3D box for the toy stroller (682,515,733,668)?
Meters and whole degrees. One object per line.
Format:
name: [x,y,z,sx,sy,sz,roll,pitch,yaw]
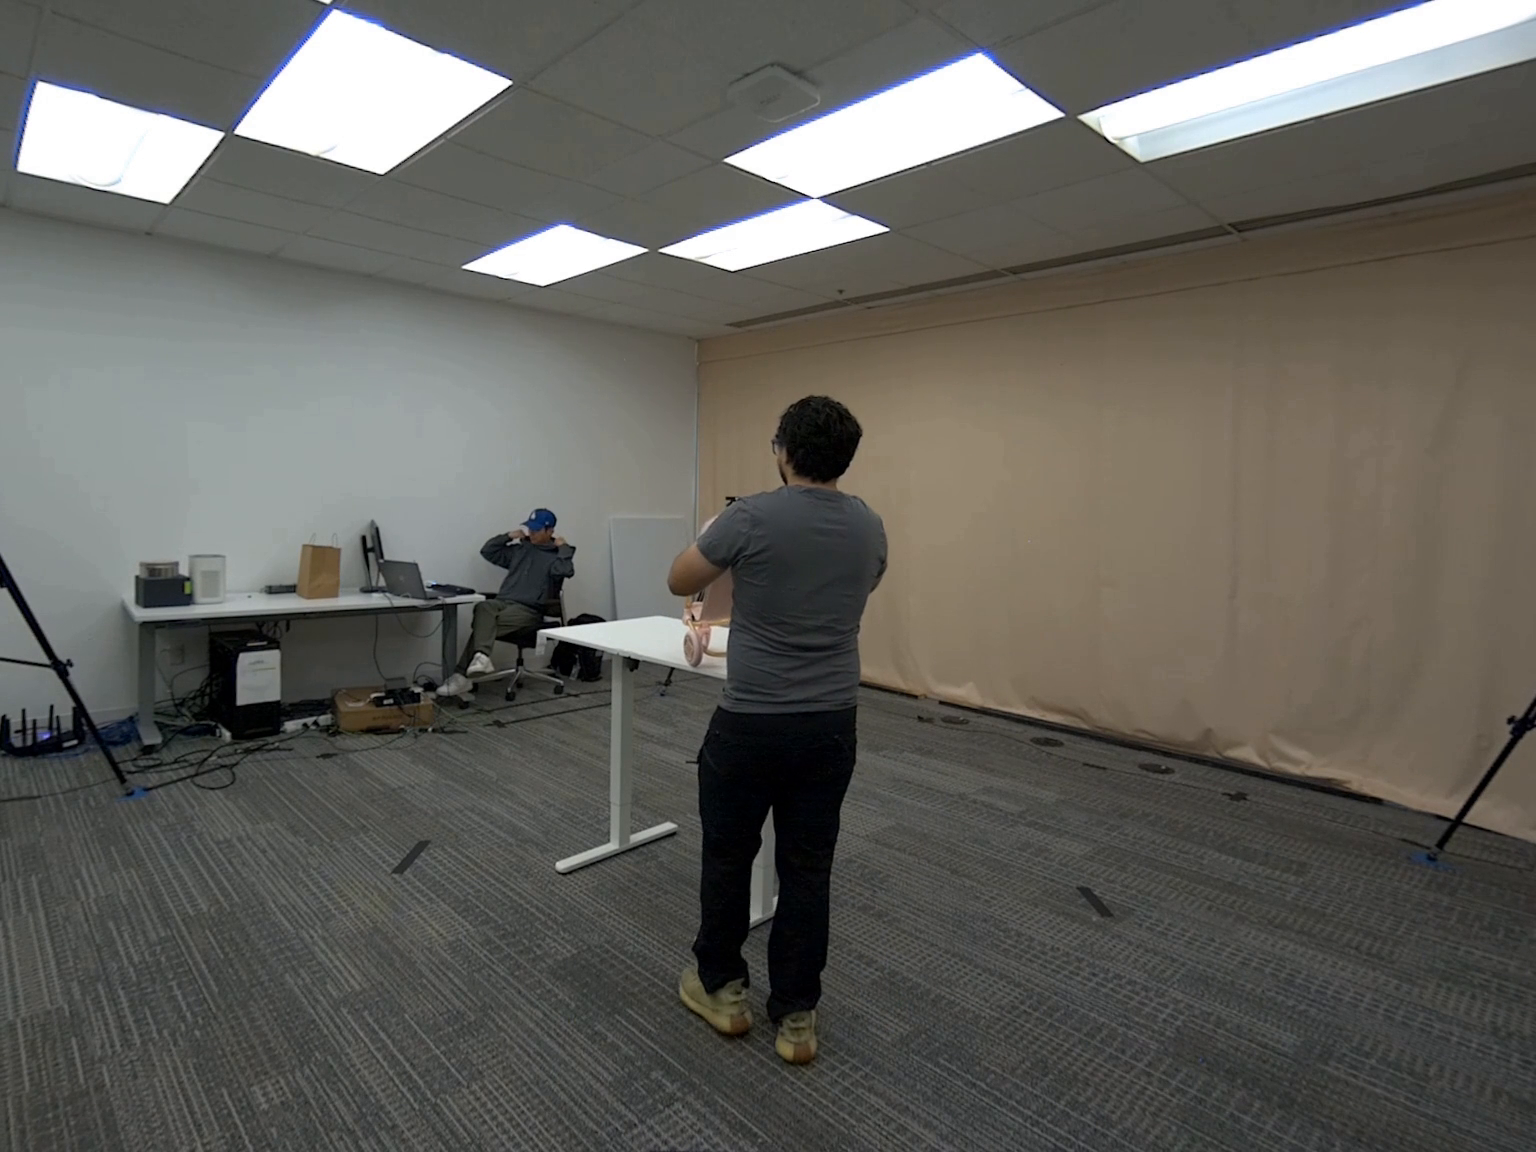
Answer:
toy stroller: [-0.136,0.045,2.647,0.277,0.529,0.350,2,19,-20]
